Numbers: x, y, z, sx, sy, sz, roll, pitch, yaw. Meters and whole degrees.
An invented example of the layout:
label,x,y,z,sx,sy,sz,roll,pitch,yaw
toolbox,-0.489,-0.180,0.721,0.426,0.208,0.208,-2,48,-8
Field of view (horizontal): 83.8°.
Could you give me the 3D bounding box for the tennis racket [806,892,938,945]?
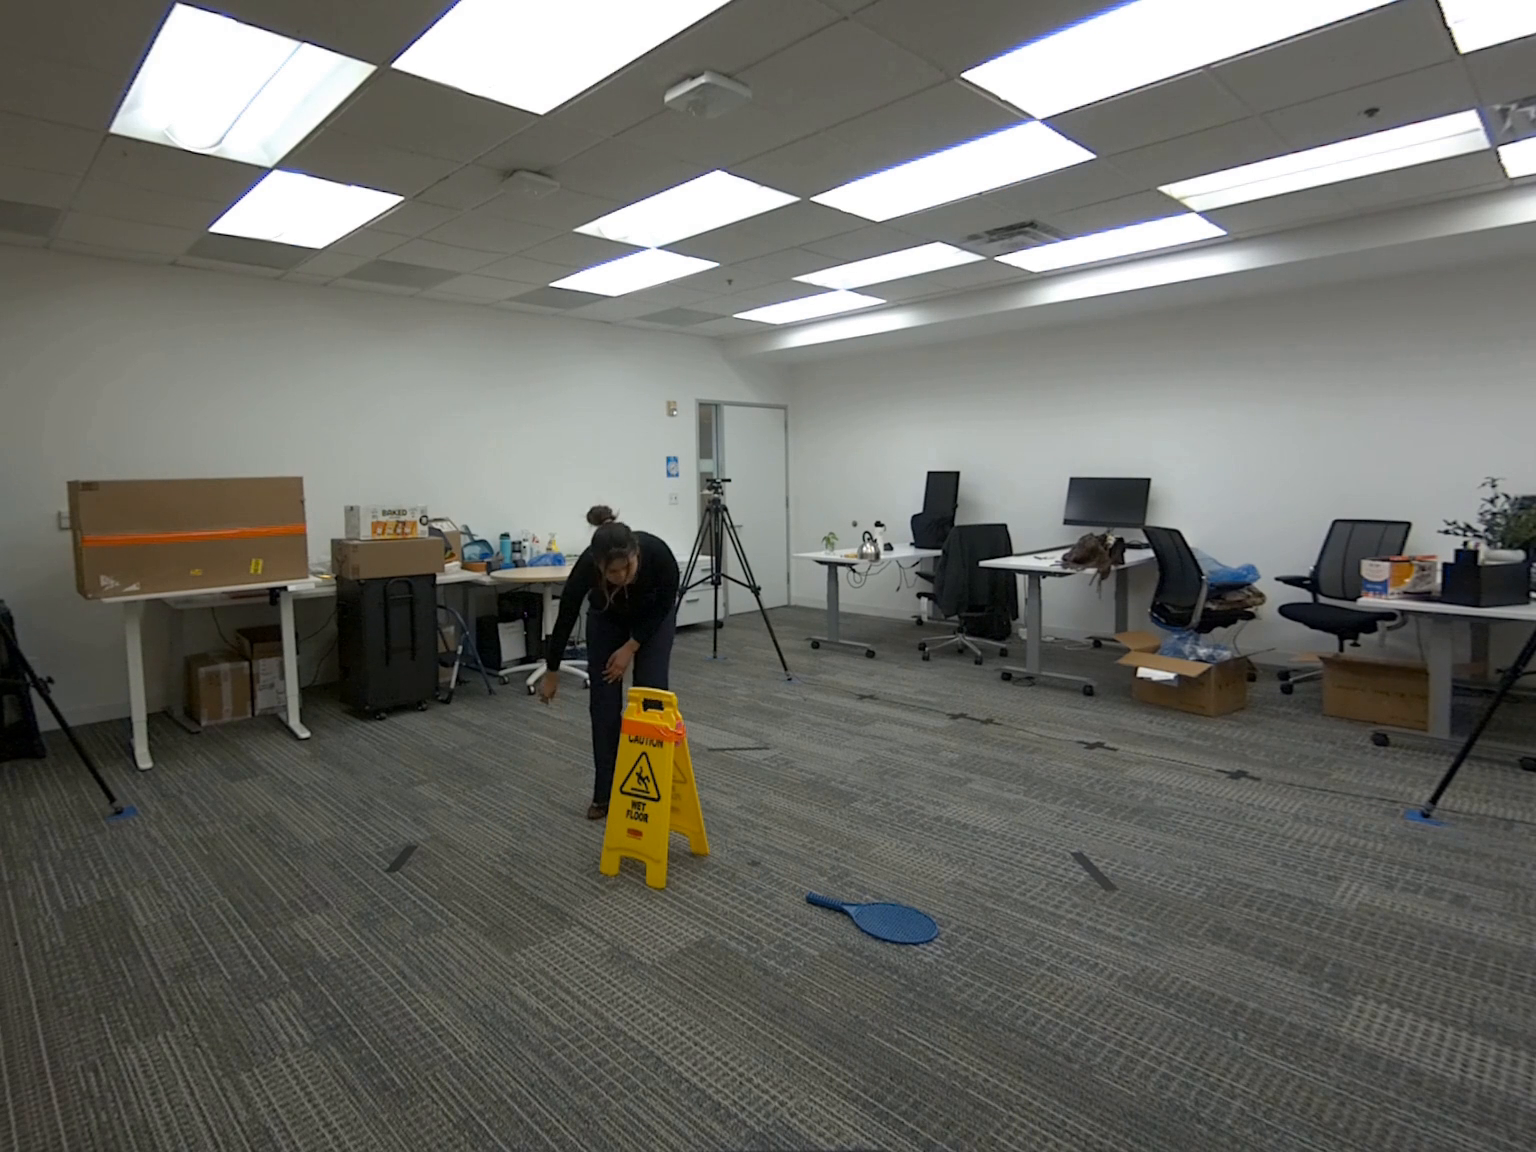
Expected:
label,x,y,z,sx,sy,sz,roll,pitch,yaw
tennis racket,0.321,1.071,2.703,0.444,0.031,0.209,4,8,29
